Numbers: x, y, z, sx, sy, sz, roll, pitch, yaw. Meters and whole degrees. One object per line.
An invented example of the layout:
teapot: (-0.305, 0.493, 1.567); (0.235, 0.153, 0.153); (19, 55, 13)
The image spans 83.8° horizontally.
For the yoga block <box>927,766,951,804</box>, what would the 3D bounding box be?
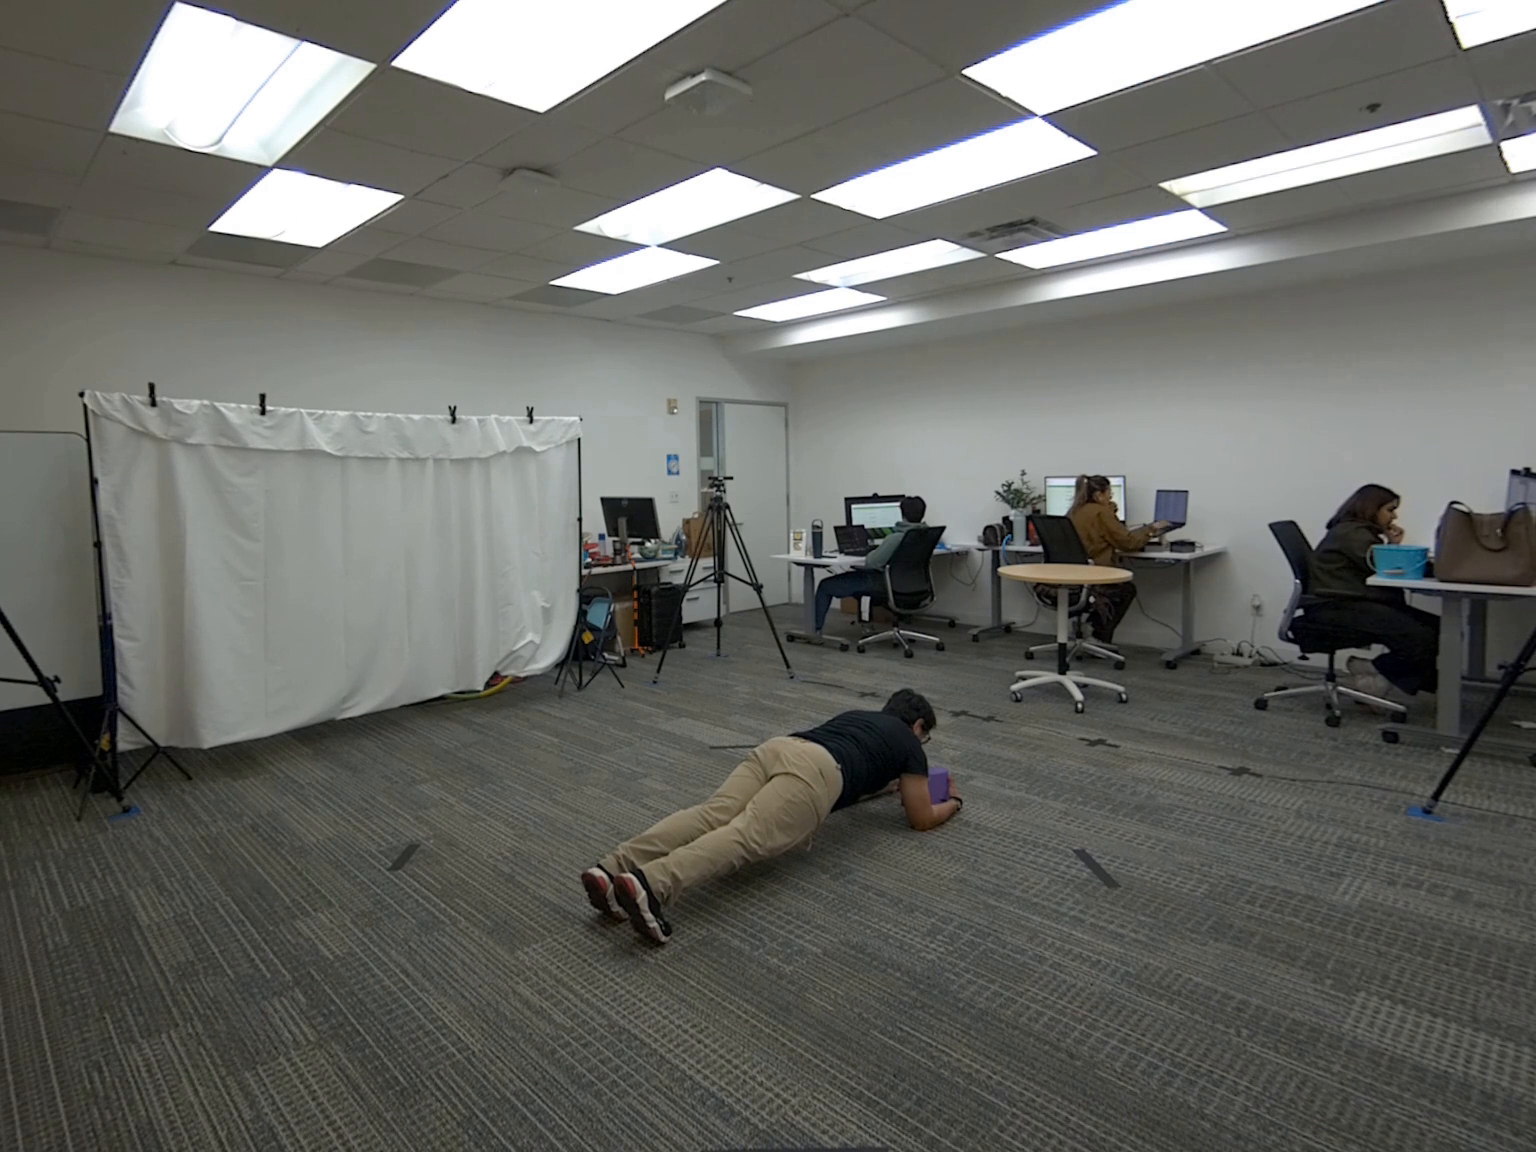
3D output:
yoga block: (0.646, 0.869, 3.499); (0.222, 0.149, 0.079); (4, 2, -38)
